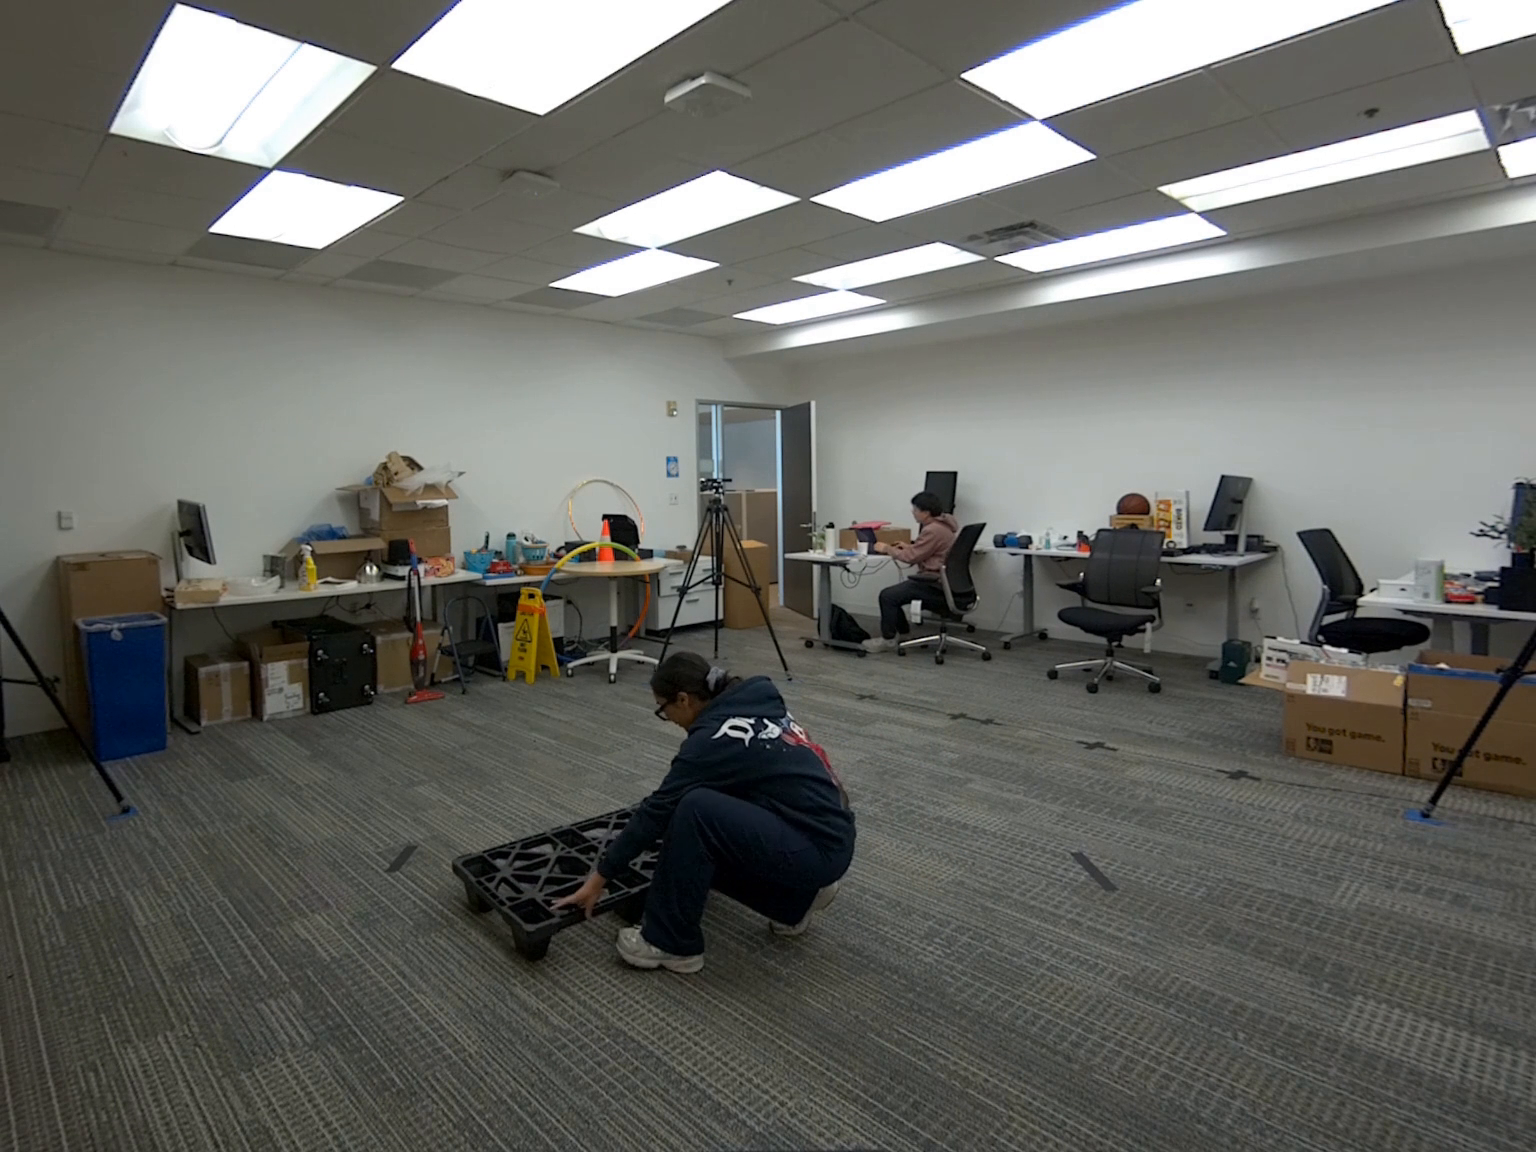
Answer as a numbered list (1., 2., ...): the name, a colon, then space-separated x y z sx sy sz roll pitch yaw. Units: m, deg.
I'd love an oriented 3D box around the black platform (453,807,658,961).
1. black platform: -0.561 1.011 2.896 0.785 0.142 0.624 -7 9 -40
